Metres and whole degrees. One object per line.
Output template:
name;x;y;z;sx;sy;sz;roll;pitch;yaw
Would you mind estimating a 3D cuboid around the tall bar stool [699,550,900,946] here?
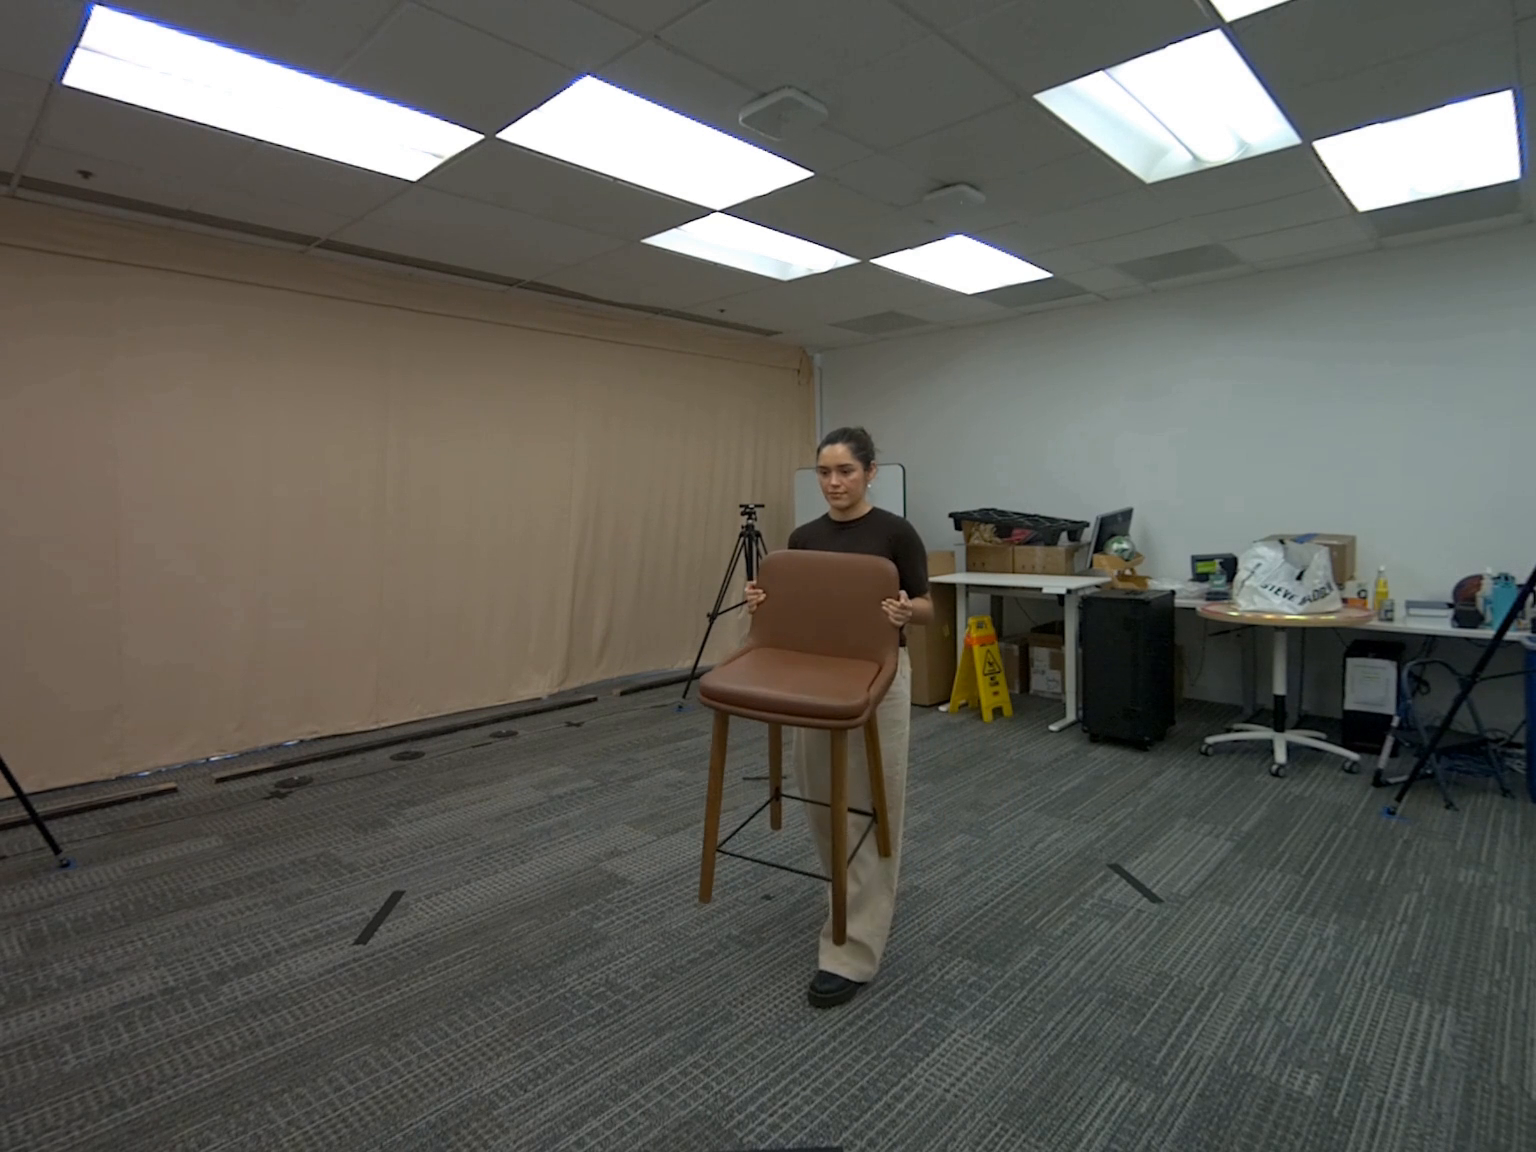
tall bar stool;0.098;0.415;2.249;0.469;0.884;0.457;5;11;27
